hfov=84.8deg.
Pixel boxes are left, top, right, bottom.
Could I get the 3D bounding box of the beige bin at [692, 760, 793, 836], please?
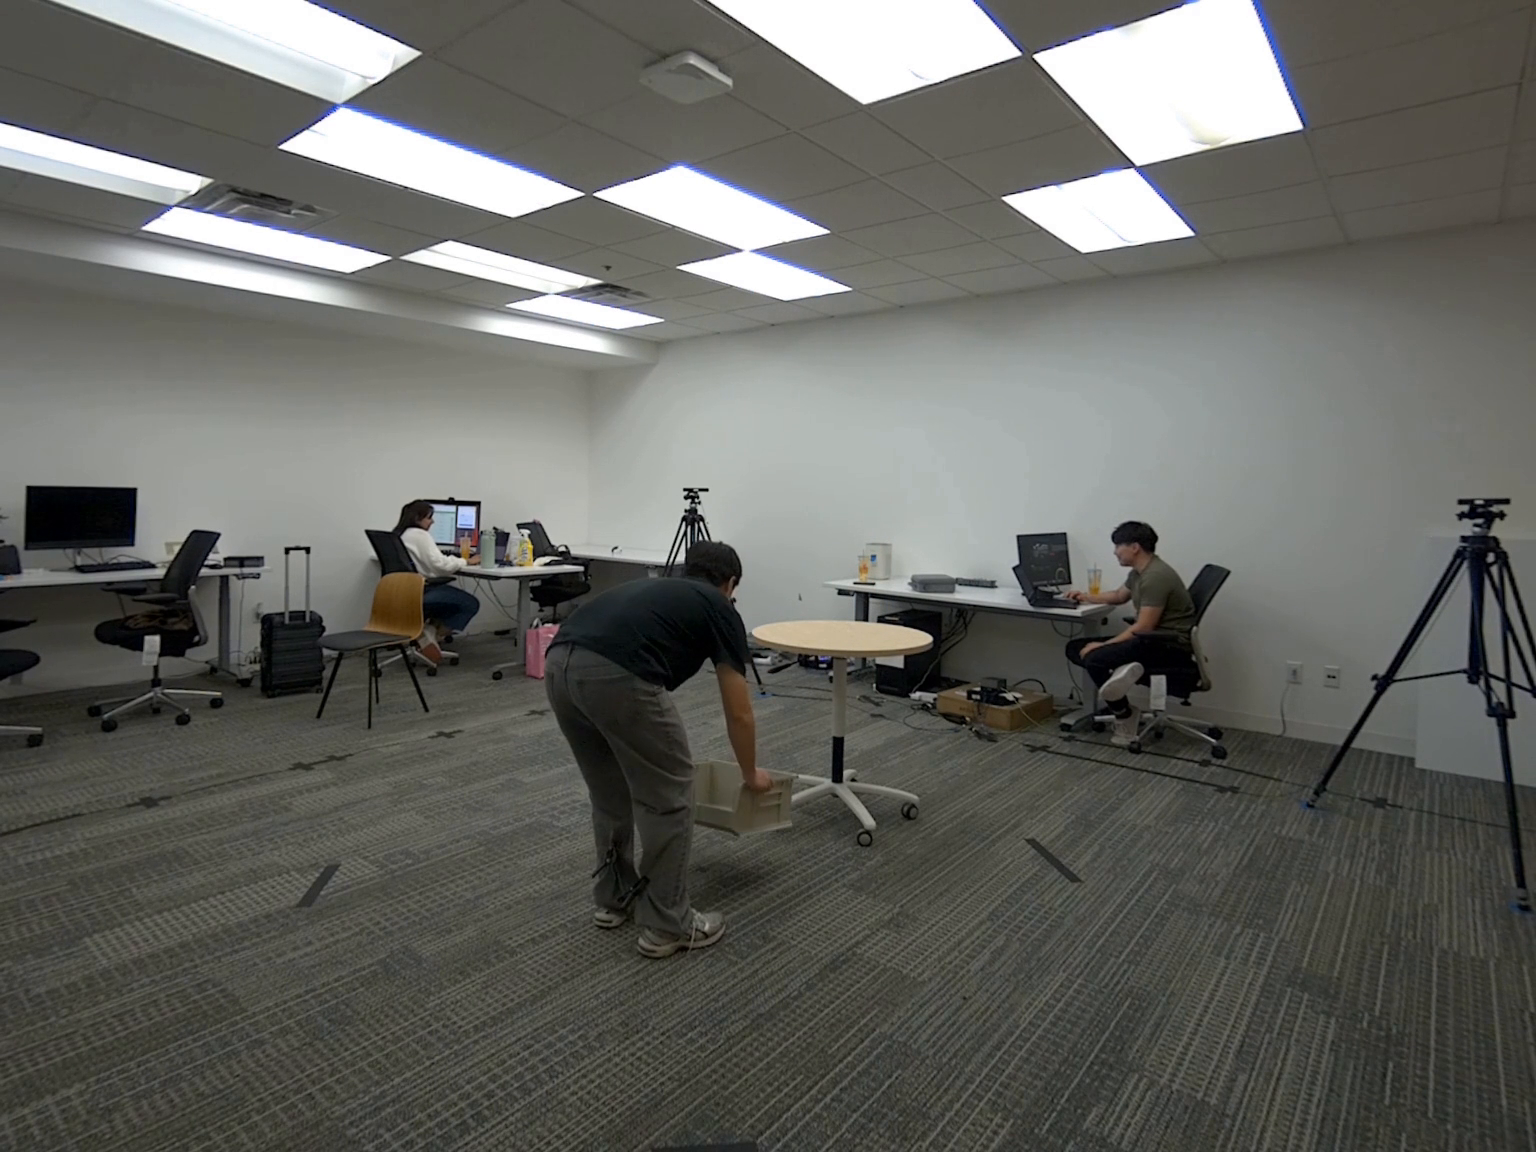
[{"bbox_3d":[-0.180,0.786,3.060,0.435,0.190,0.364,-1,-8,37],"label":"beige bin"}]
